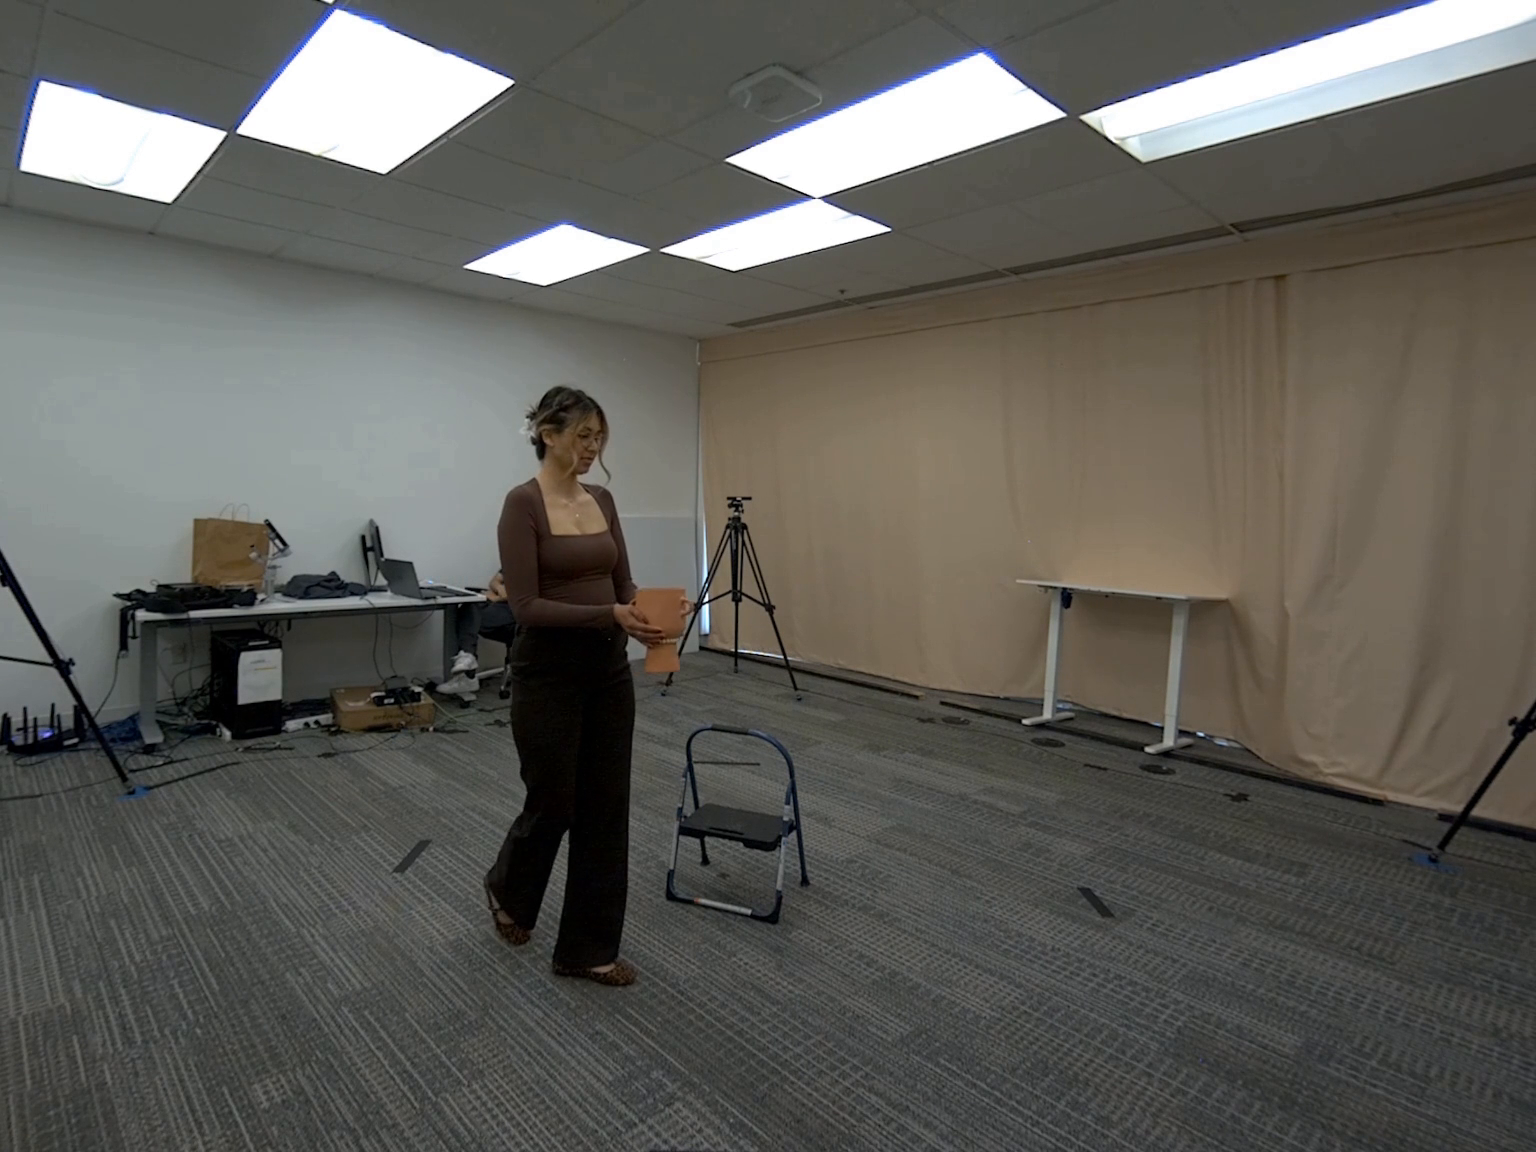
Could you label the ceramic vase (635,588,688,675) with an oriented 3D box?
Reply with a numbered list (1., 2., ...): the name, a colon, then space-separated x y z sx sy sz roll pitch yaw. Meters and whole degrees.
1. ceramic vase: -0.302 0.147 2.237 0.132 0.220 0.161 -1 -1 -27
